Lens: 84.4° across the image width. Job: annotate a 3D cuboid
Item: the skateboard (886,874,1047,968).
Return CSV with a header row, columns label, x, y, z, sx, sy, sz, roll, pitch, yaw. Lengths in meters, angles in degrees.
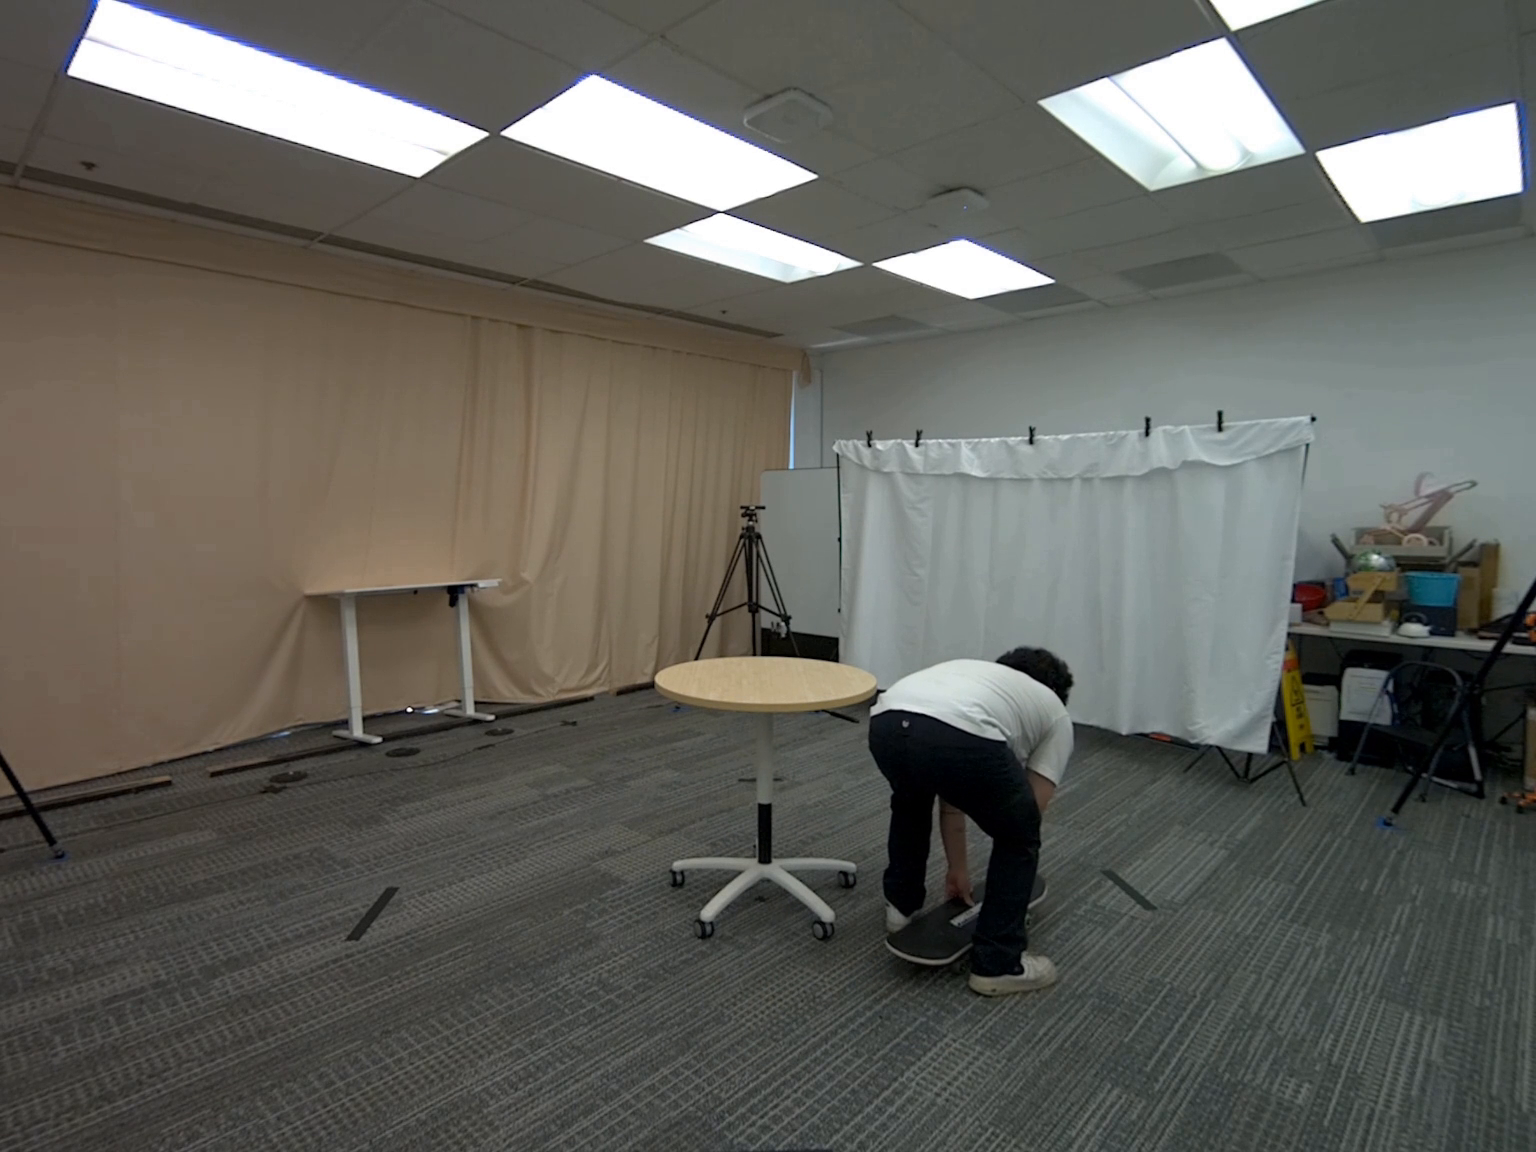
label,x,y,z,sx,sy,sz,roll,pitch,yaw
skateboard,0.653,1.117,2.689,0.761,0.110,0.200,-4,7,-43
